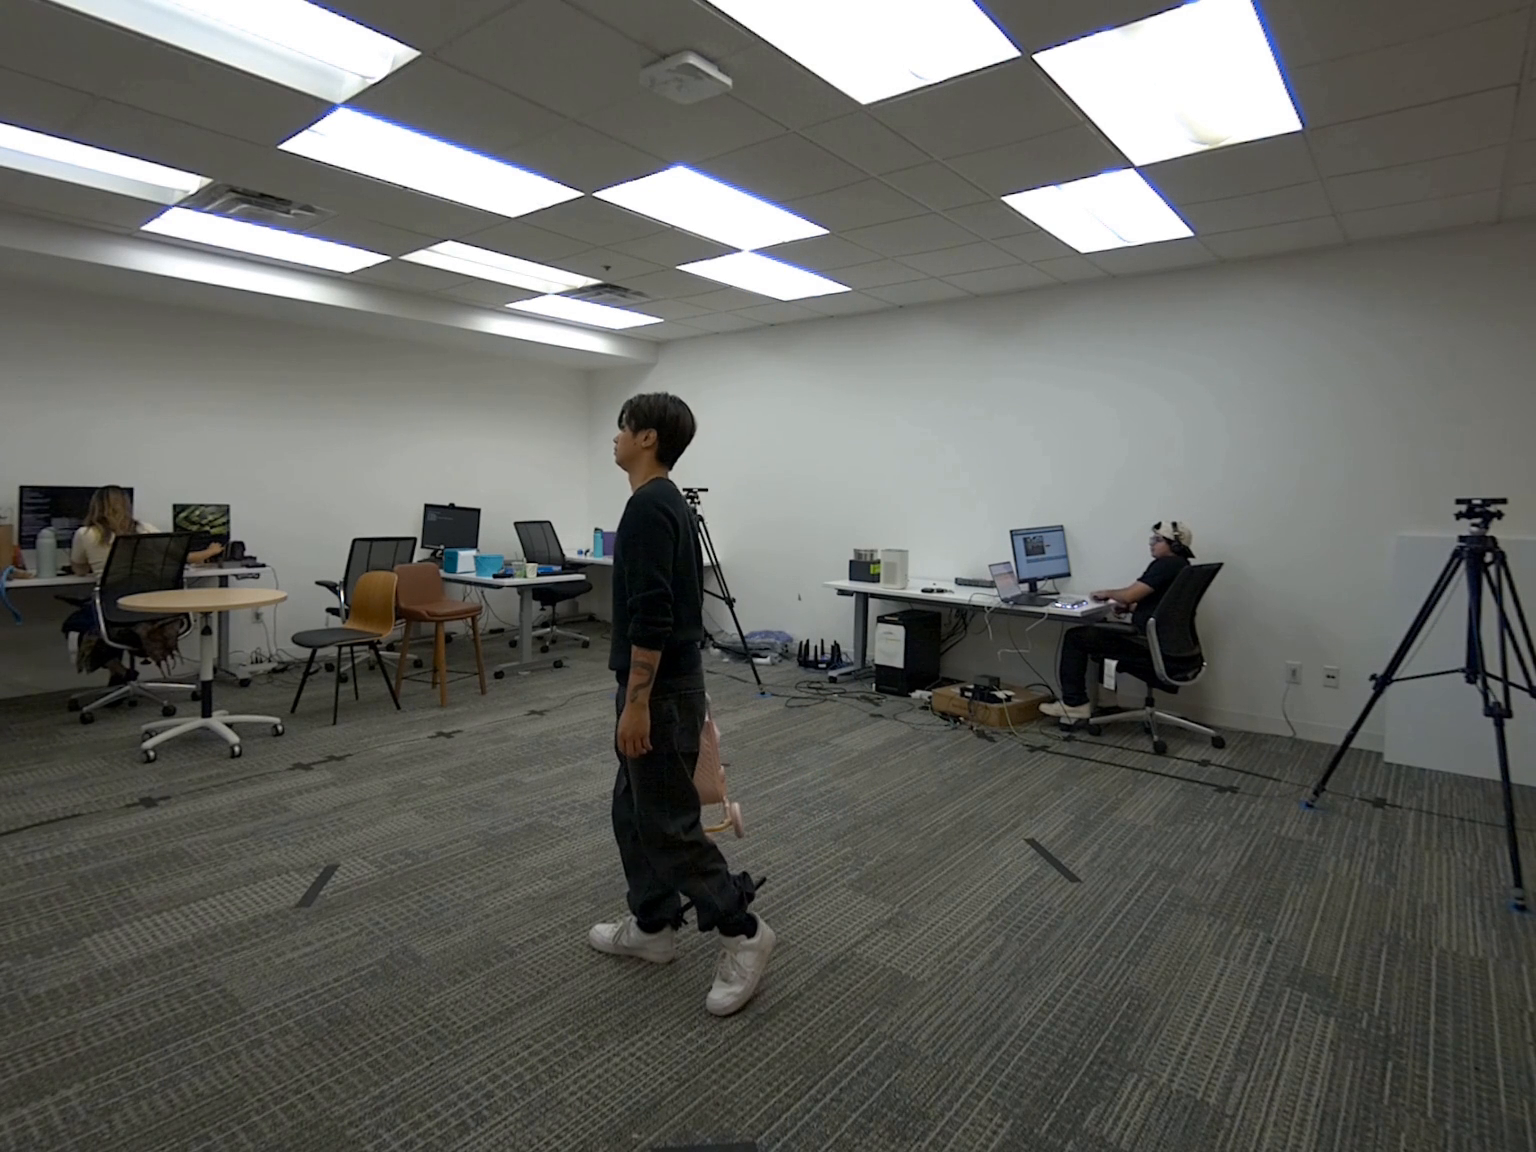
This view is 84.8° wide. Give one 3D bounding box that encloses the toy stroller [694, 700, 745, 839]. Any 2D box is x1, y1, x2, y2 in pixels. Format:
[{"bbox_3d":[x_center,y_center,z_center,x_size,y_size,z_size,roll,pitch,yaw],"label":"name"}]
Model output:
[{"bbox_3d":[-0.257,0.667,2.850,0.282,0.545,0.335,-12,-15,1],"label":"toy stroller"}]
